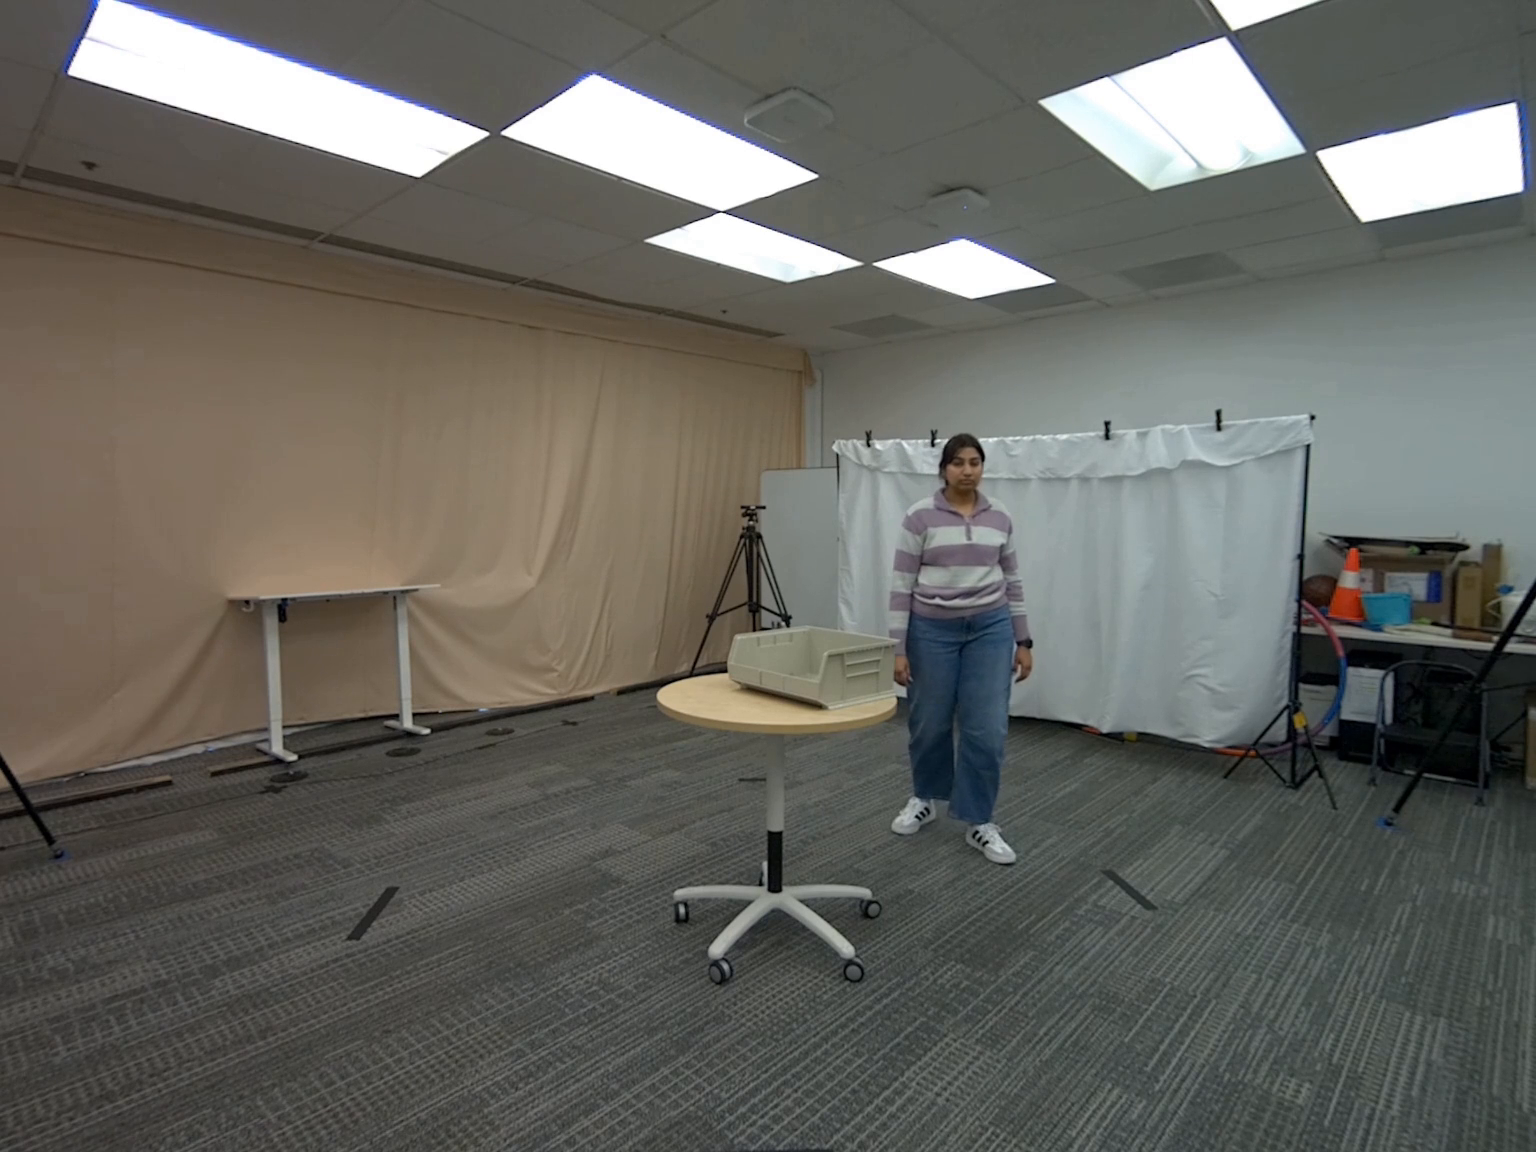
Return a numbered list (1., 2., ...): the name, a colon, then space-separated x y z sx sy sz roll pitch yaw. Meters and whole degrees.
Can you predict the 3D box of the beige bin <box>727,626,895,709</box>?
1. beige bin: 0.150 0.294 2.737 0.366 0.189 0.436 -2 4 -41
